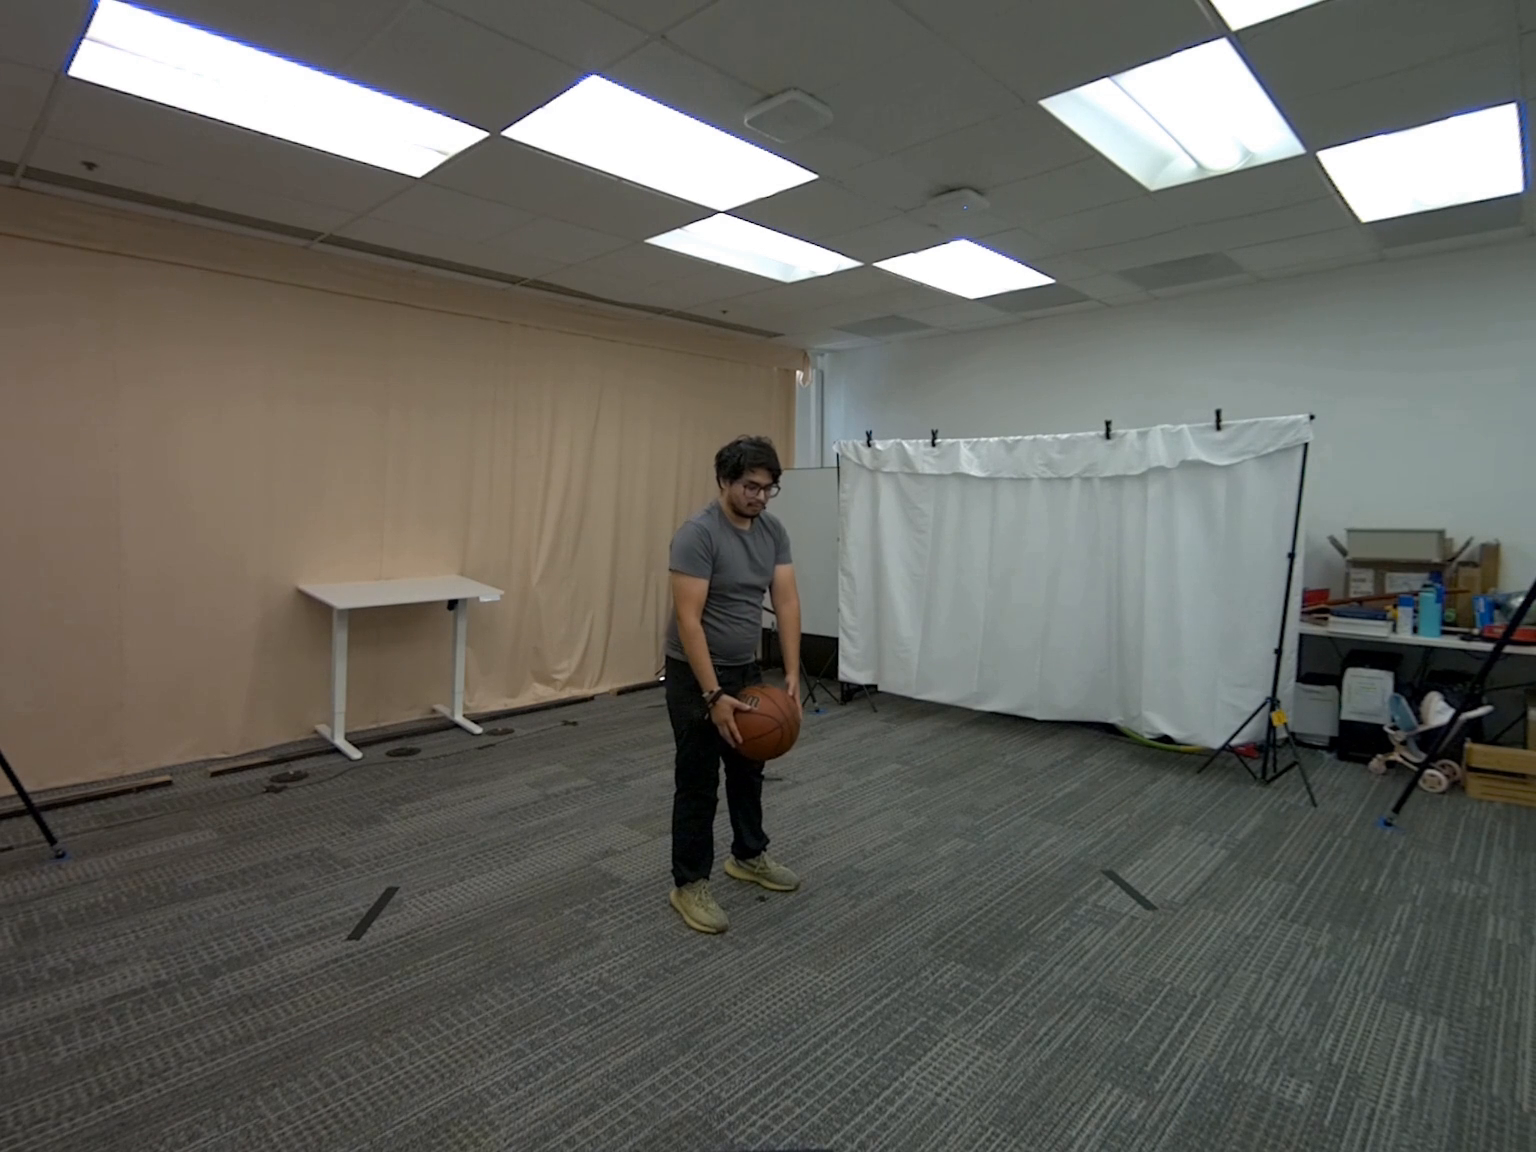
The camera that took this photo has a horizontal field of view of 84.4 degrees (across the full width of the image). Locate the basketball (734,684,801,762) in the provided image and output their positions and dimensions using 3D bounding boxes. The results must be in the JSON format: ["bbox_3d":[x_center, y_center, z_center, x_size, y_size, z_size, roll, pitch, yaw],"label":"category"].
[{"bbox_3d":[-0.023,0.457,2.664,0.236,0.235,0.237,0,4,-2],"label":"basketball"}]
